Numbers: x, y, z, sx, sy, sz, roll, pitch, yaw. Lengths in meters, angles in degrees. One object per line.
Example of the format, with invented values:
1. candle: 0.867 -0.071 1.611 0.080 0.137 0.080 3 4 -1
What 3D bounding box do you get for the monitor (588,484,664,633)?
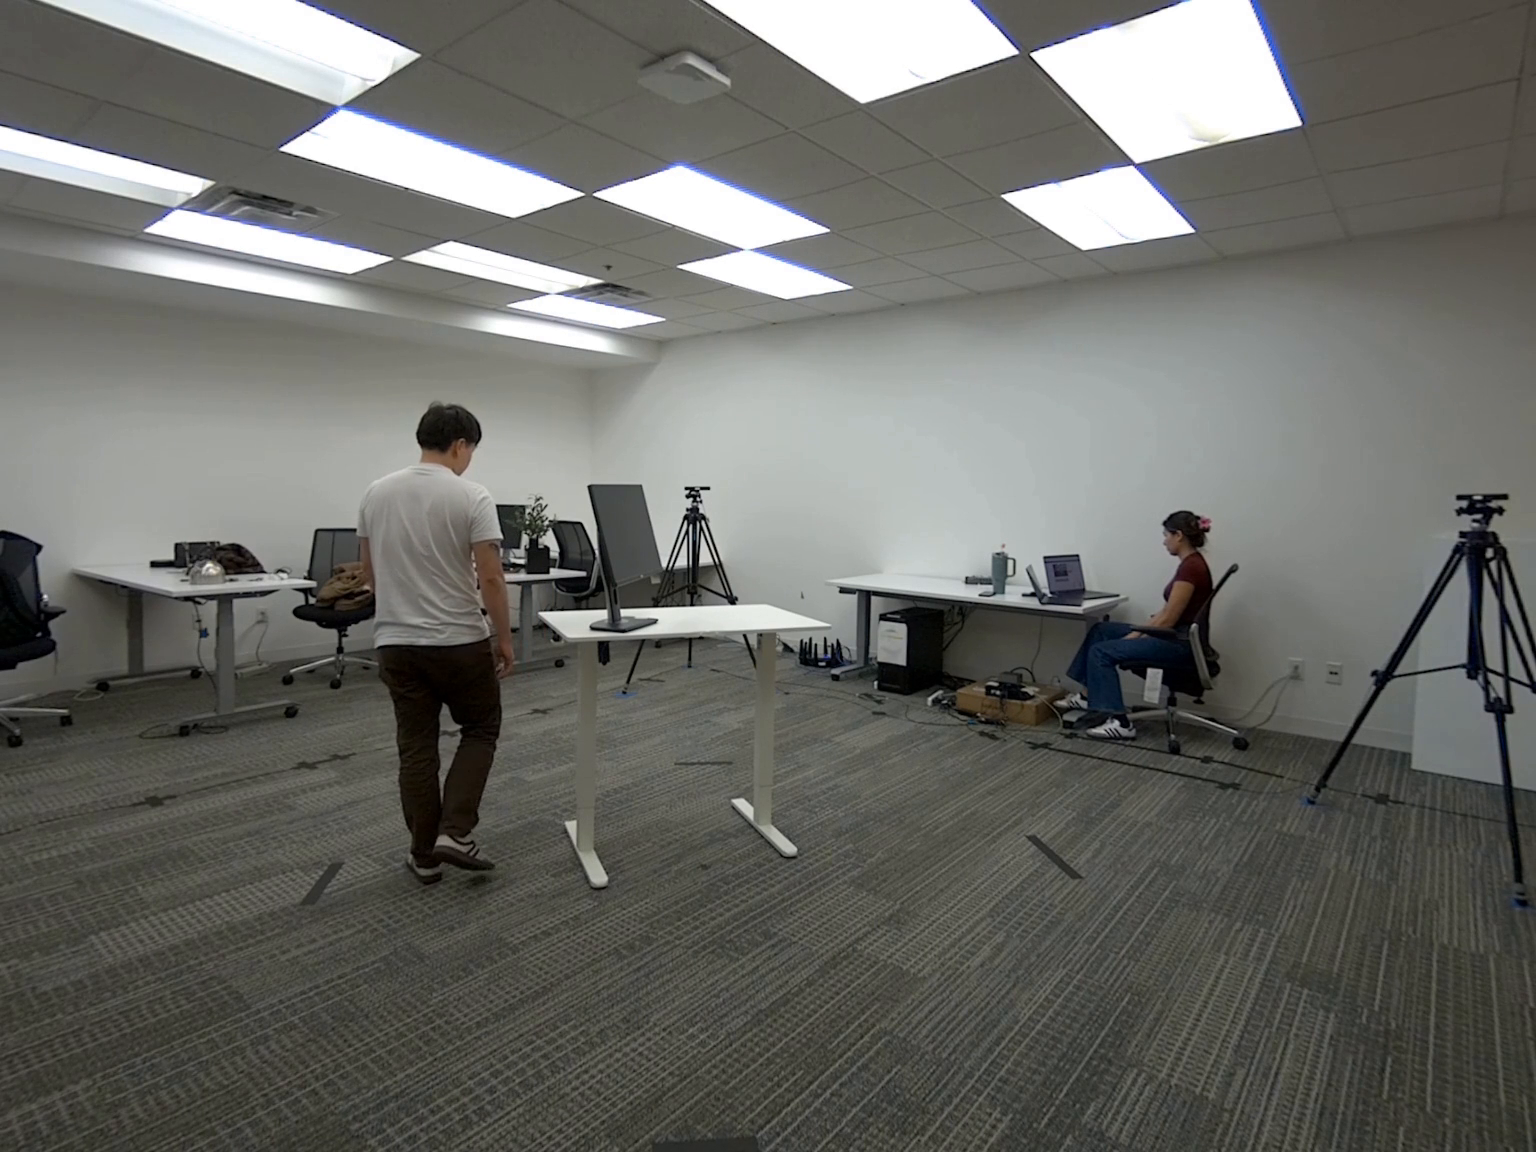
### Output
1. monitor: -0.550 -0.071 3.090 0.189 0.521 0.534 0 4 10
